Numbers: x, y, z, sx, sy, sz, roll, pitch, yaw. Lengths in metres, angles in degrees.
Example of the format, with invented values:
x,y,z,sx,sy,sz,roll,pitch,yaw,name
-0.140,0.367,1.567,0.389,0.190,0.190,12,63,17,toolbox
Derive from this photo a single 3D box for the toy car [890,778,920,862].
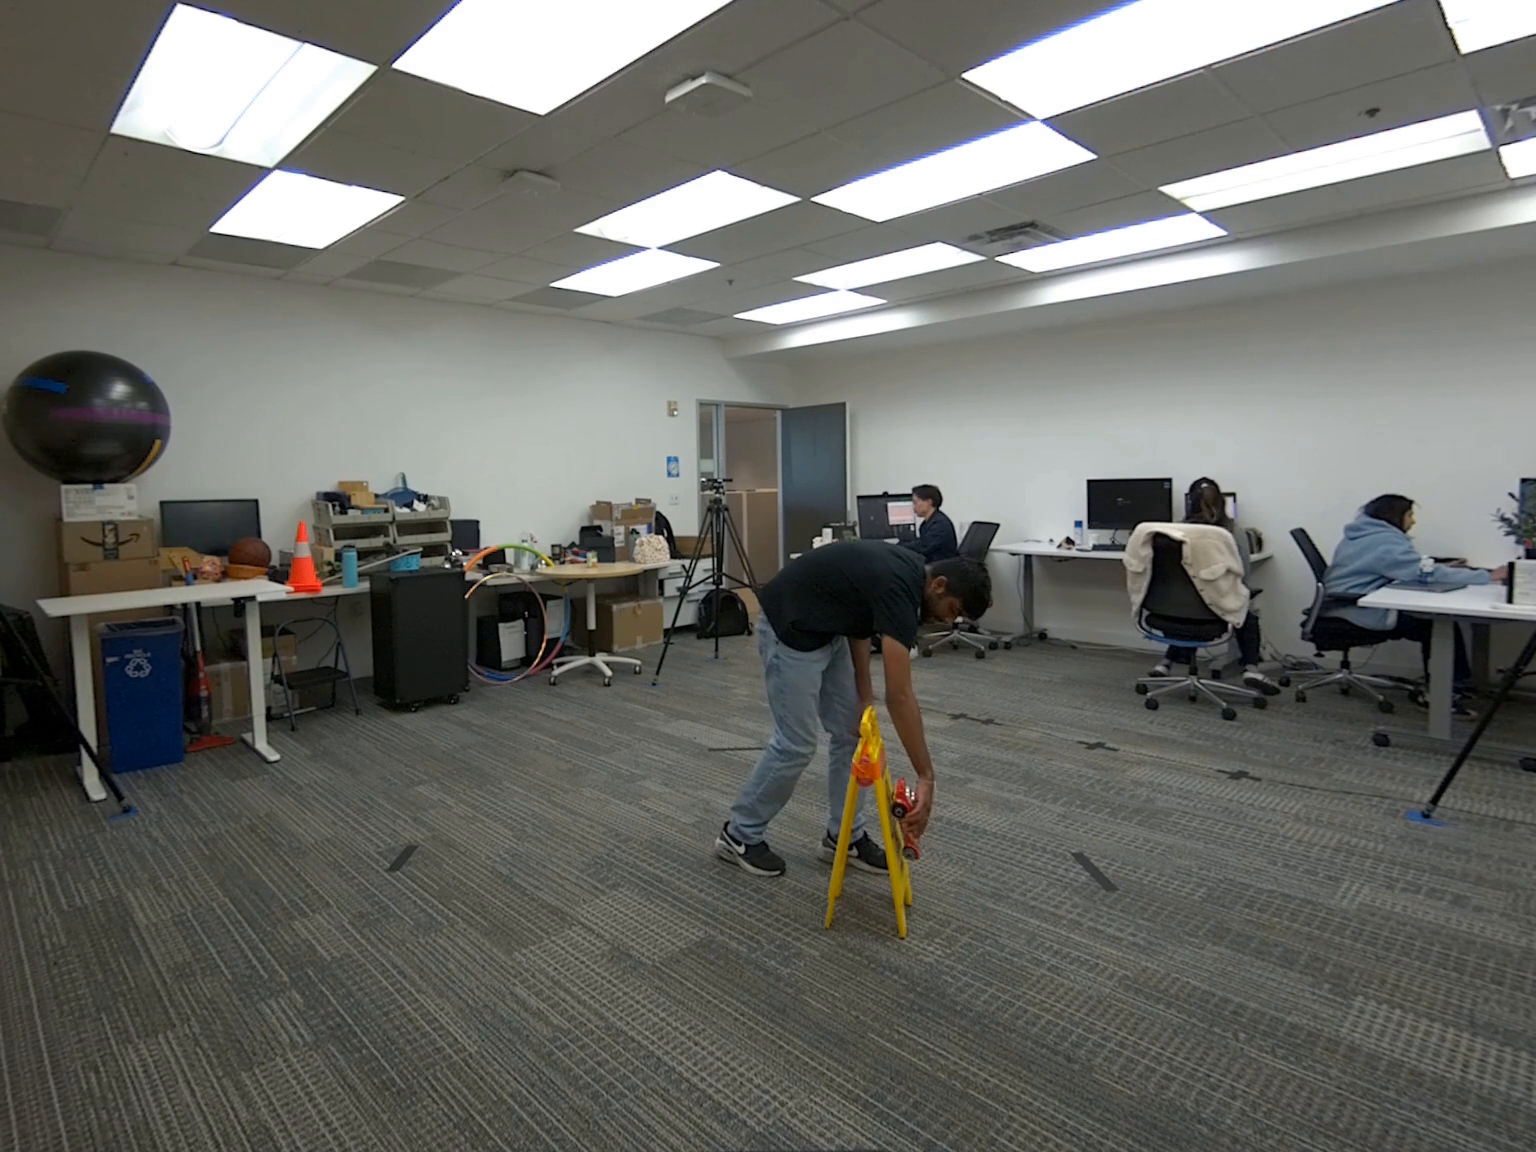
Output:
x,y,z,sx,sy,sz,roll,pitch,yaw,name
0.429,0.757,2.691,0.084,0.252,0.130,-3,12,13,toy car
